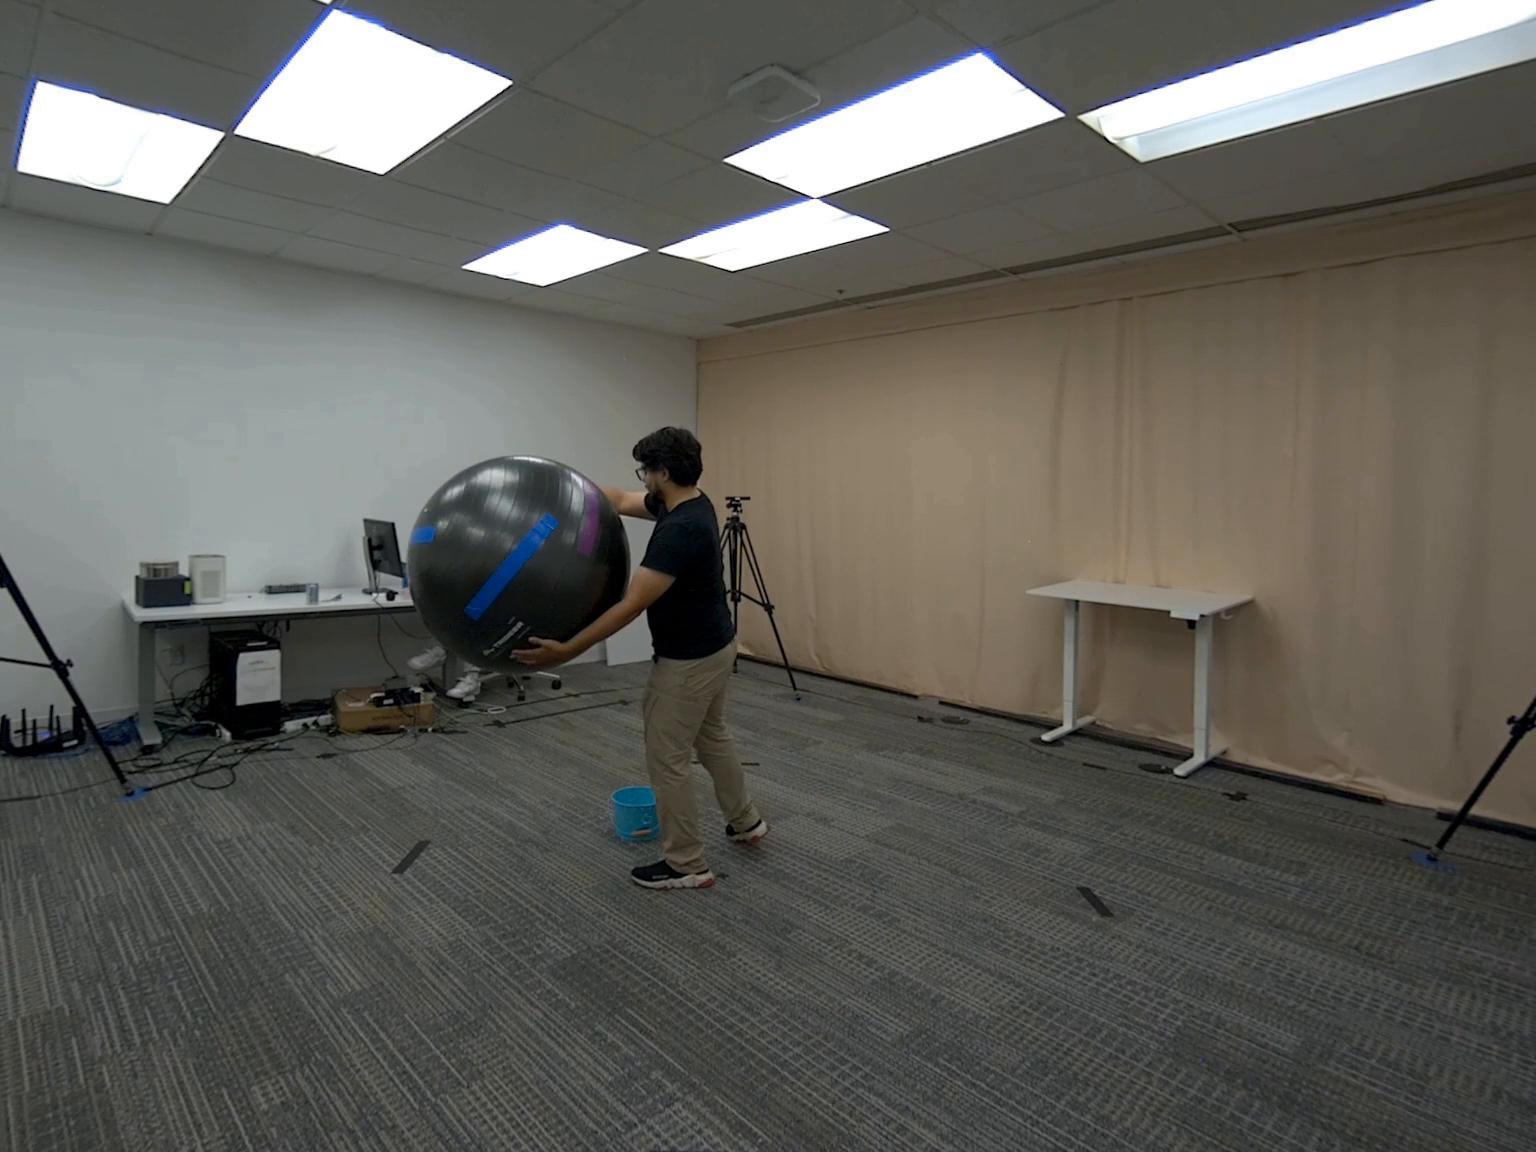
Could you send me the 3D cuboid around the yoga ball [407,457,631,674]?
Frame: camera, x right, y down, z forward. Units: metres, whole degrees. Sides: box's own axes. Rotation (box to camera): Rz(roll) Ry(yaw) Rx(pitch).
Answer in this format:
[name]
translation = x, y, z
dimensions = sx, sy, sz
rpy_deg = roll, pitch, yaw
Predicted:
[yoga ball]
translation = -0.870, -0.030, 2.938
dimensions = 0.757, 0.756, 0.761
rpy_deg = 1, 4, -1
